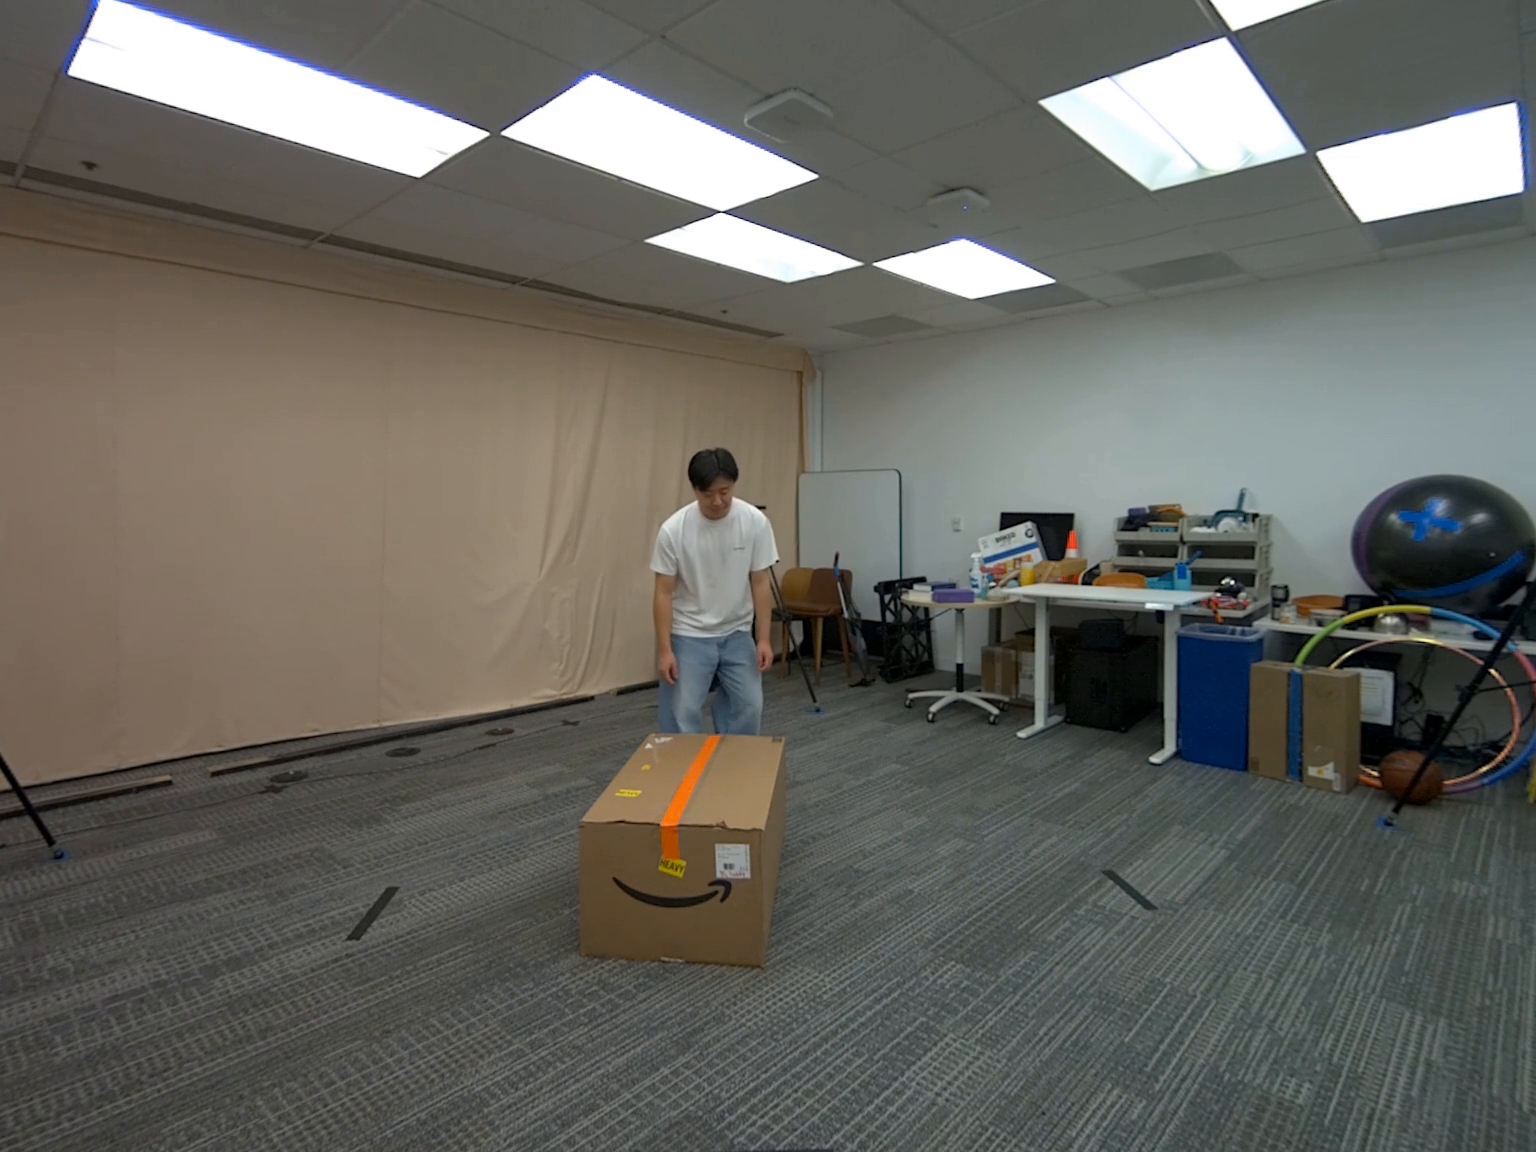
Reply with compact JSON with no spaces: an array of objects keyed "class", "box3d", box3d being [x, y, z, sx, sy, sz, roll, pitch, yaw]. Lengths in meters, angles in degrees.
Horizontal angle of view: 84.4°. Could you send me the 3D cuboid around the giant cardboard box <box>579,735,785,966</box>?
[{"class":"giant cardboard box","box3d":[-0.255,0.918,3.059,0.582,0.425,1.021,0,4,5]}]
